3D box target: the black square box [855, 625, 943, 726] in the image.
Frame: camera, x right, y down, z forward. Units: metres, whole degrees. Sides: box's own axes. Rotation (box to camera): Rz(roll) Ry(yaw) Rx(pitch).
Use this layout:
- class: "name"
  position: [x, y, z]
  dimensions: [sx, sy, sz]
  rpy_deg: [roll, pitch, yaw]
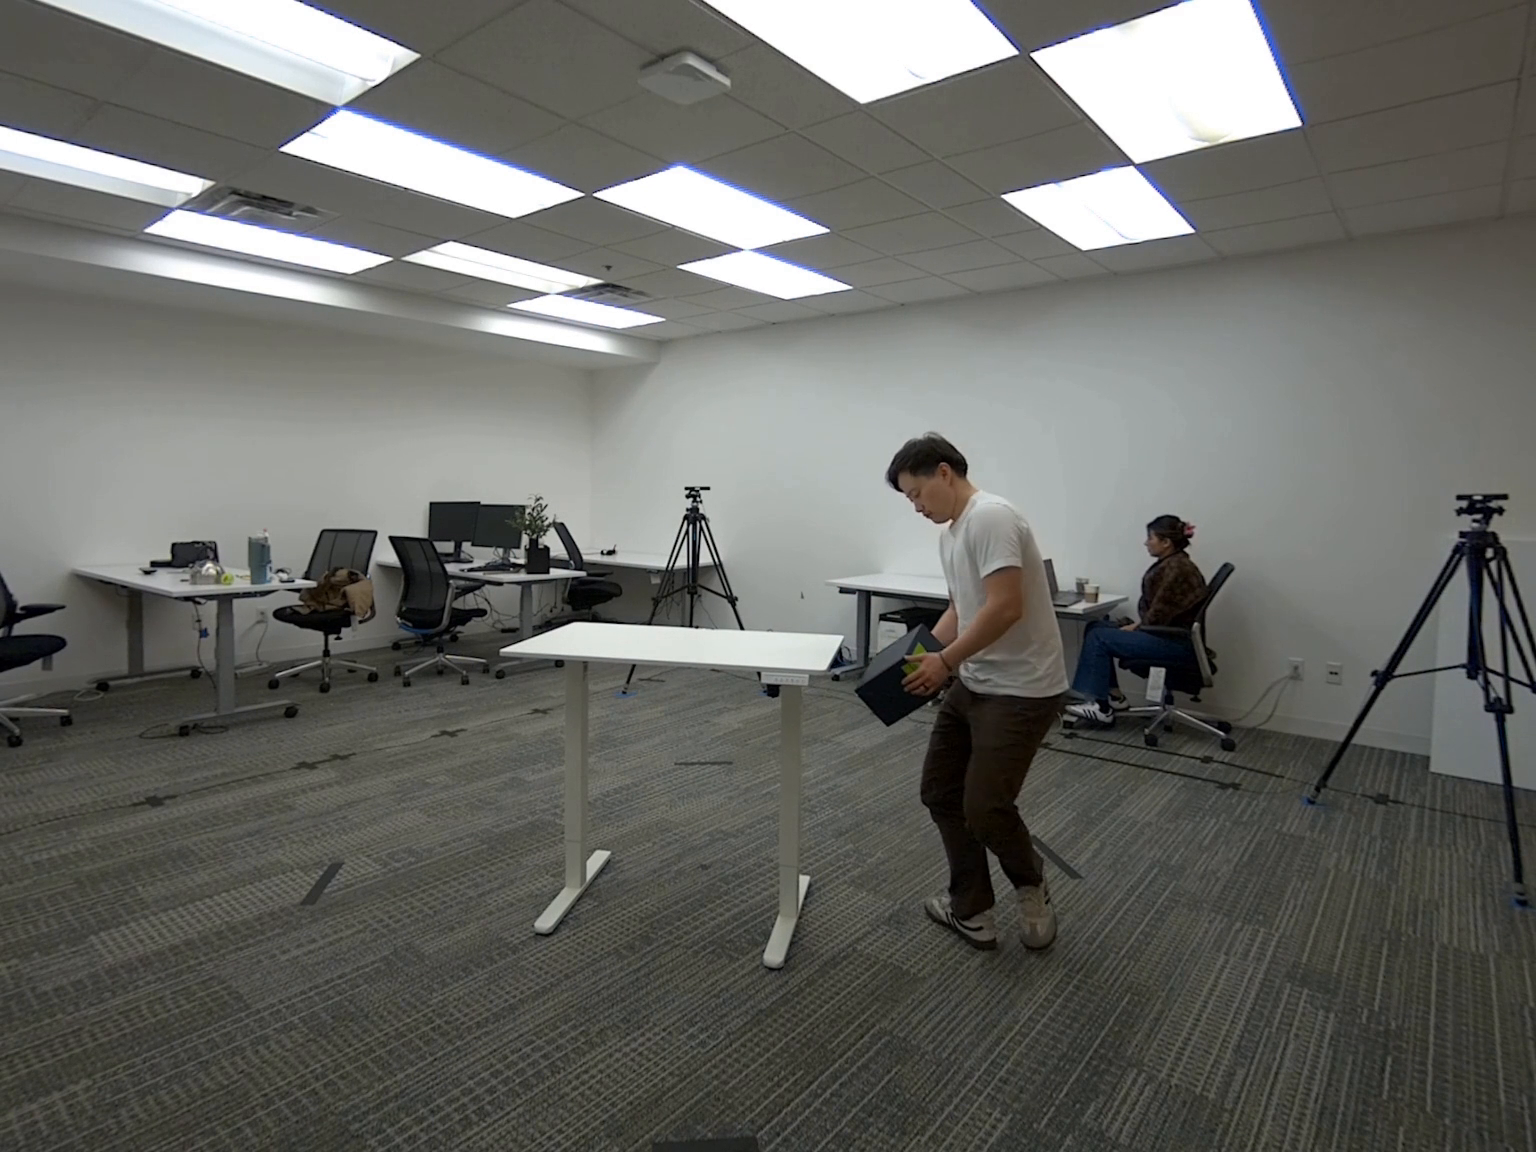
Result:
- class: "black square box"
  position: [0.431, 0.301, 2.666]
  dimensions: [0.217, 0.155, 0.228]
  rpy_deg: [-43, 5, 33]
